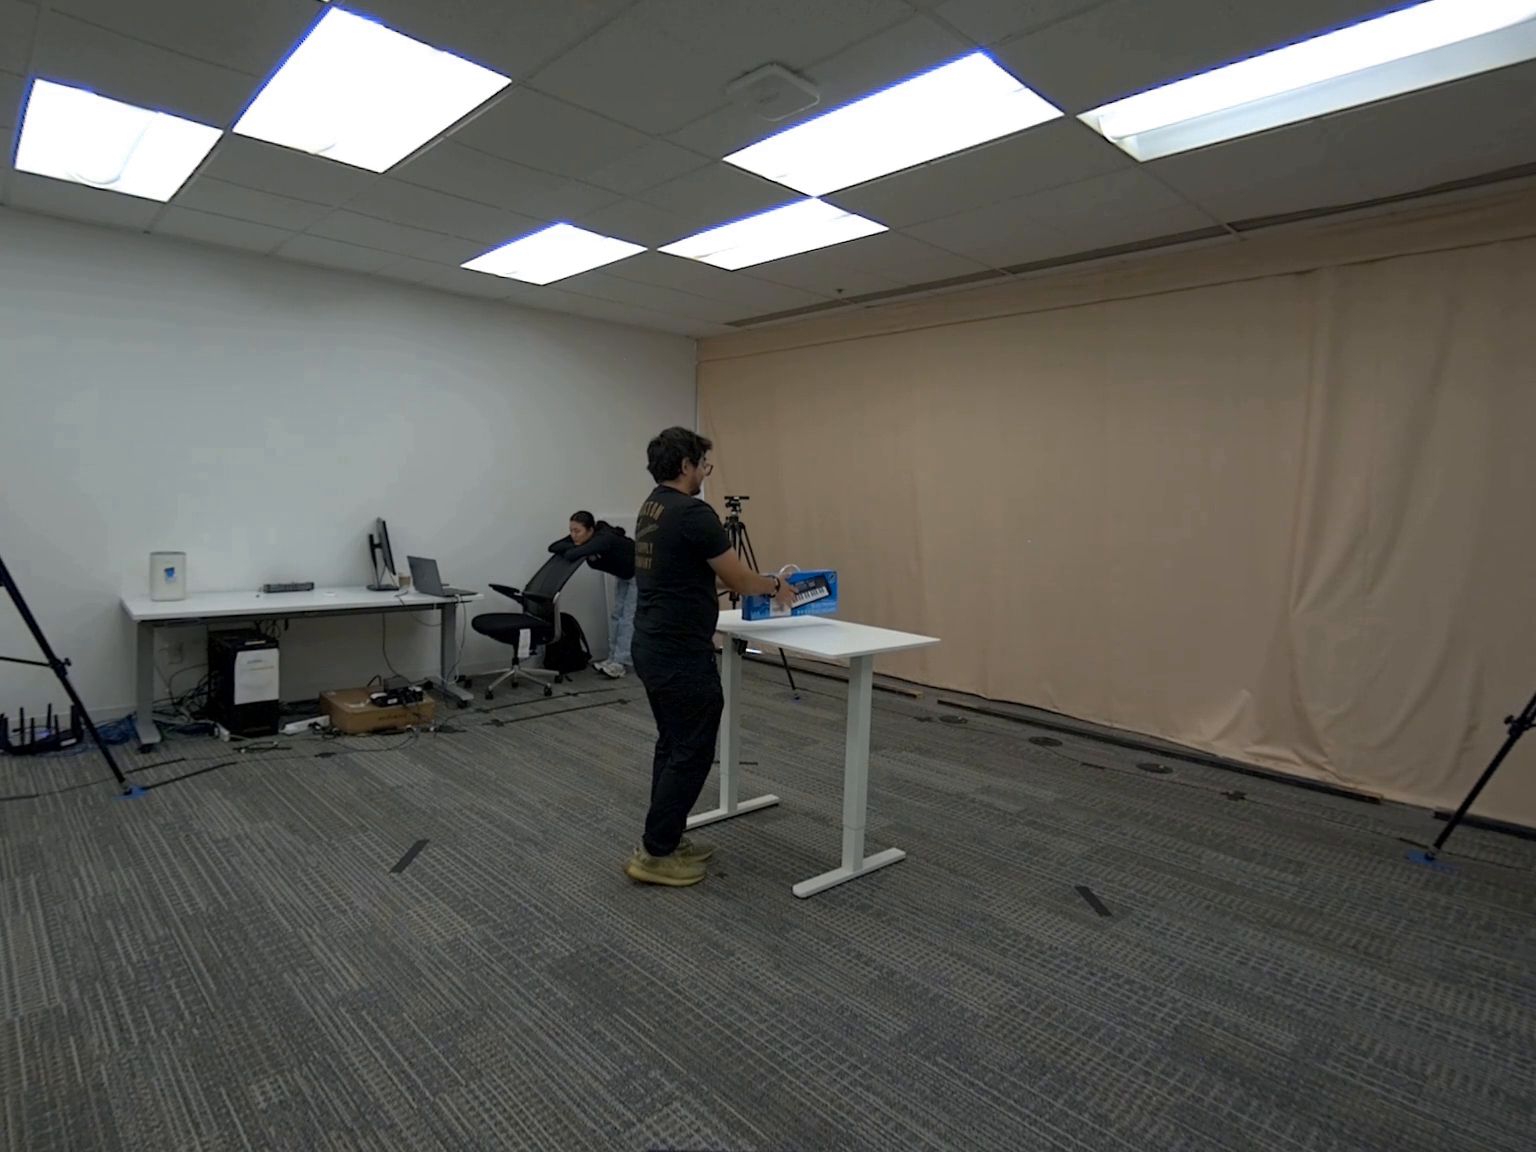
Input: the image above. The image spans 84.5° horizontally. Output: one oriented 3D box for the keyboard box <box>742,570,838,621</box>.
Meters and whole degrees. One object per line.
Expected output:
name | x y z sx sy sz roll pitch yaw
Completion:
keyboard box | 0.091 0.079 3.340 0.428 0.175 0.060 -5 4 -35
